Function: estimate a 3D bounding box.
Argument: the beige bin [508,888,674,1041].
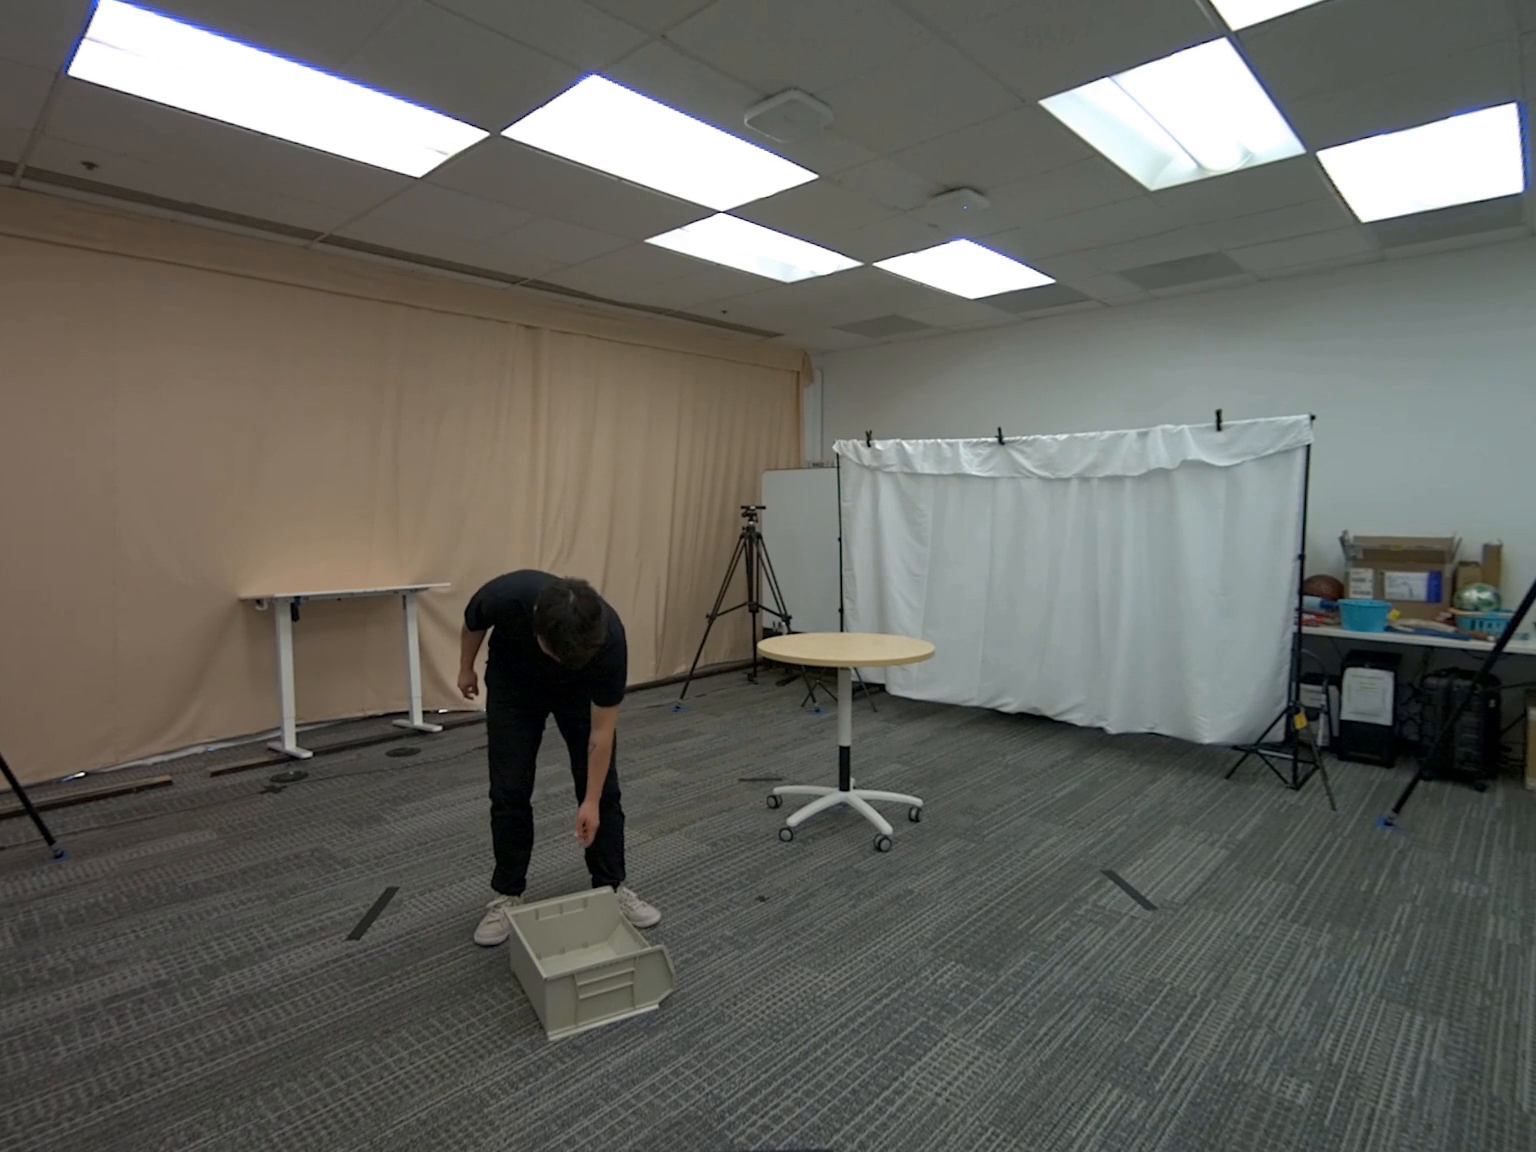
[{"bbox_3d":[-0.526,1.105,2.444,0.367,0.188,0.435,-3,6,-29],"label":"beige bin"}]
